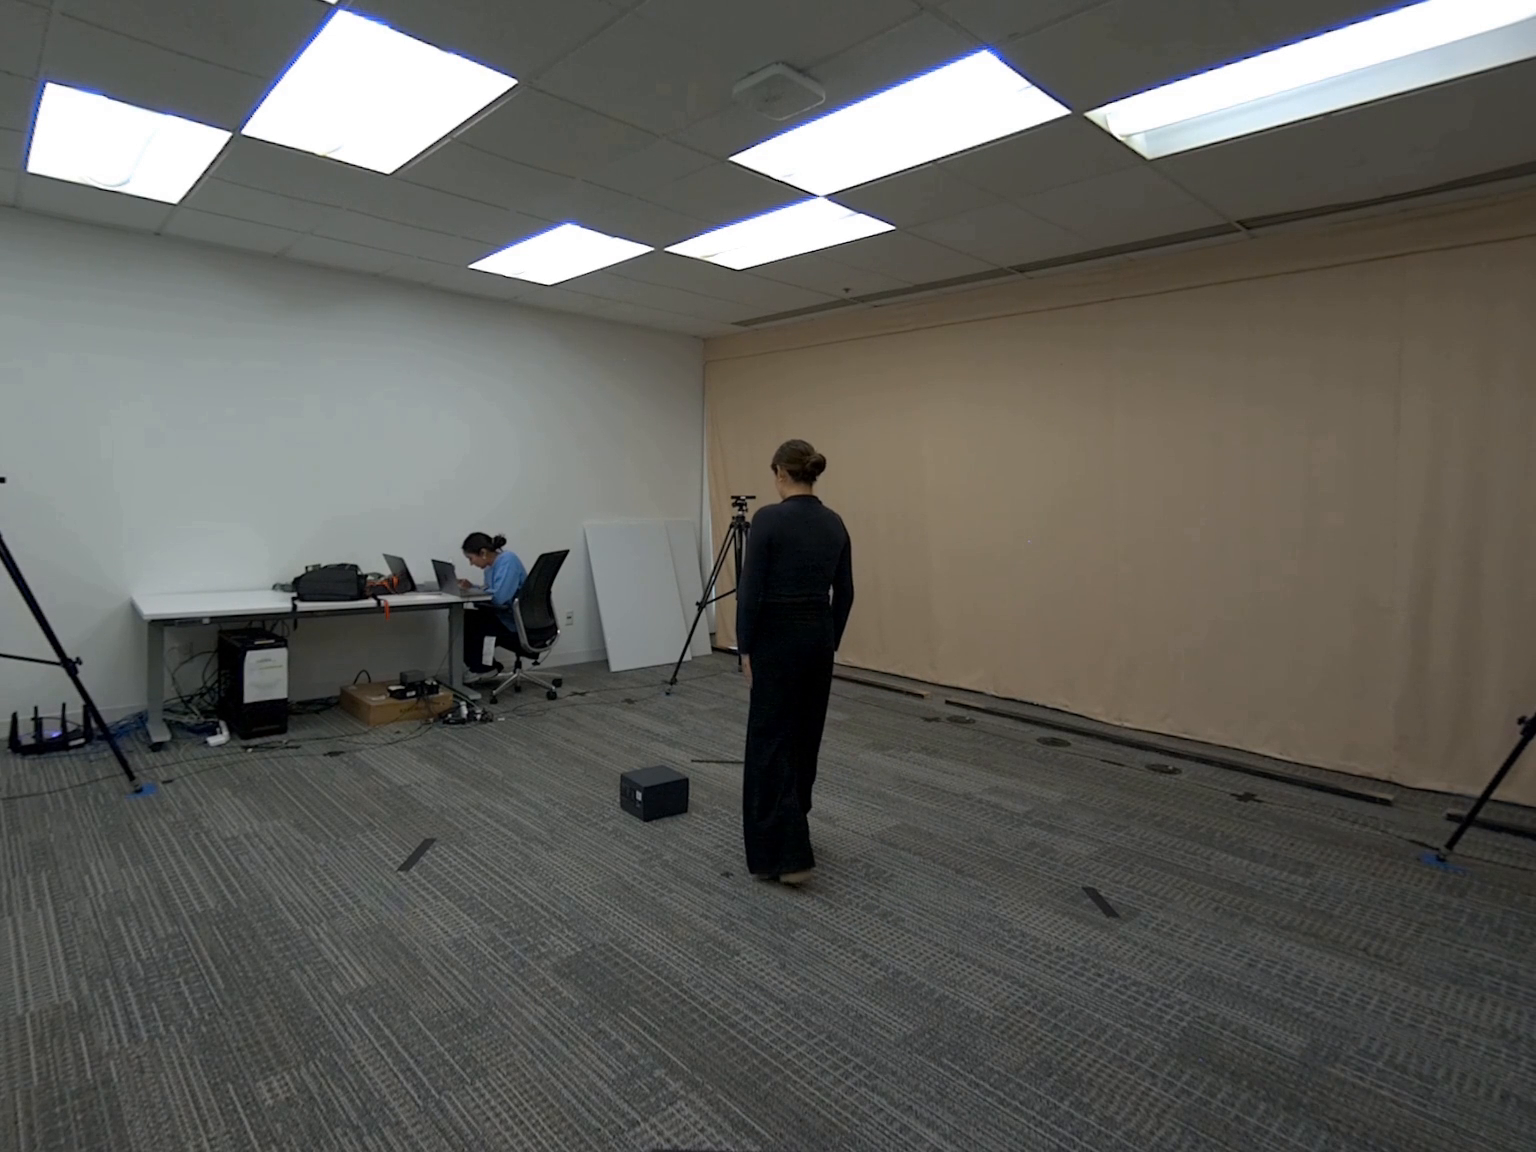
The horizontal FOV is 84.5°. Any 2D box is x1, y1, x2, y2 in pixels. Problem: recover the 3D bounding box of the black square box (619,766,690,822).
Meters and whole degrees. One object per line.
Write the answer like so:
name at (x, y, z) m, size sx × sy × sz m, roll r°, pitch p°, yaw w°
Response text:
black square box at (-0.510, 0.956, 3.726) m, size 0.223 × 0.155 × 0.222 m, roll -2°, pitch 5°, yaw -38°
